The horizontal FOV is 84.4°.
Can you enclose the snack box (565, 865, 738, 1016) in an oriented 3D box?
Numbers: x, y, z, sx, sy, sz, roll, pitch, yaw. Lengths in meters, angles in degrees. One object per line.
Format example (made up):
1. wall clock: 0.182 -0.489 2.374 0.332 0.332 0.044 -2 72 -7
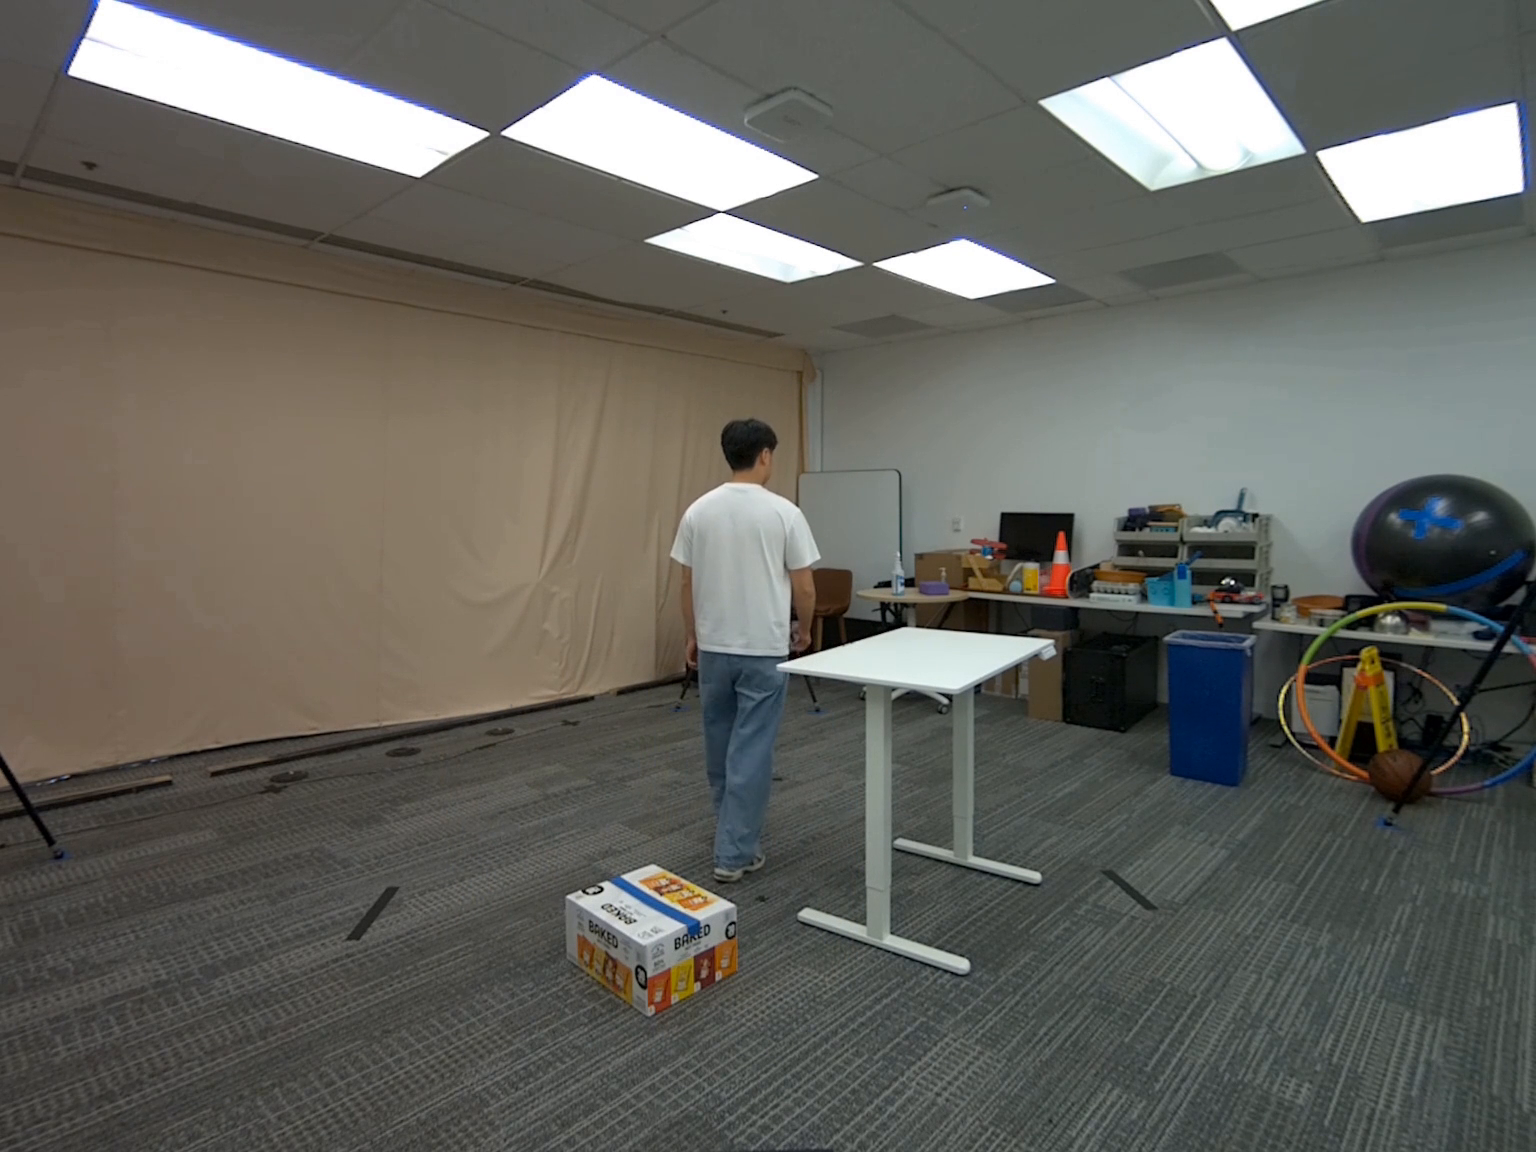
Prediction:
1. snack box: -0.355 1.082 2.542 0.330 0.205 0.419 -4 6 -44
